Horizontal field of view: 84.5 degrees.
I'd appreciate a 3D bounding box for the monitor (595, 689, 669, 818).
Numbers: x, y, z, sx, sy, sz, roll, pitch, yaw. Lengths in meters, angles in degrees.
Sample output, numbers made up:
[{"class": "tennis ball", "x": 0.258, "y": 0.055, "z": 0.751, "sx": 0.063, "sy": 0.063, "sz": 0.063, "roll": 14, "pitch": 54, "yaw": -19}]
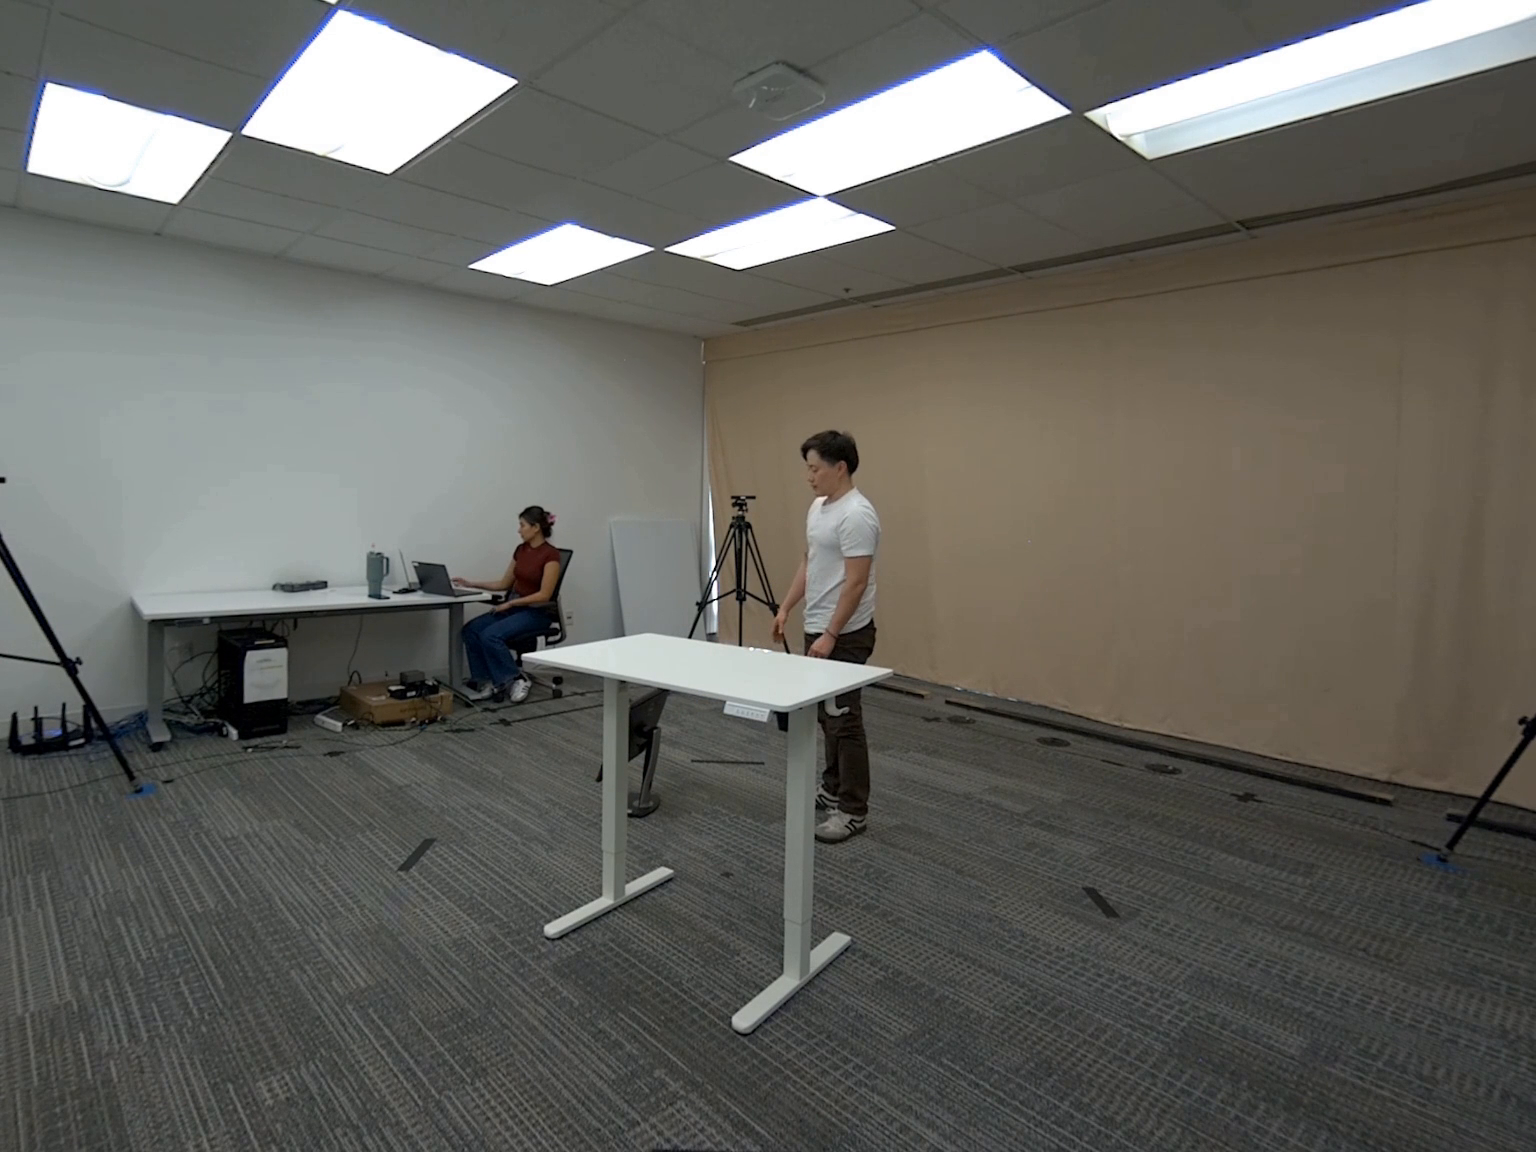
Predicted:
[{"class": "monitor", "x": -0.569, "y": 0.772, "z": 3.763, "sx": 0.189, "sy": 0.522, "sz": 0.534, "roll": 5, "pitch": 3, "yaw": 11}]
